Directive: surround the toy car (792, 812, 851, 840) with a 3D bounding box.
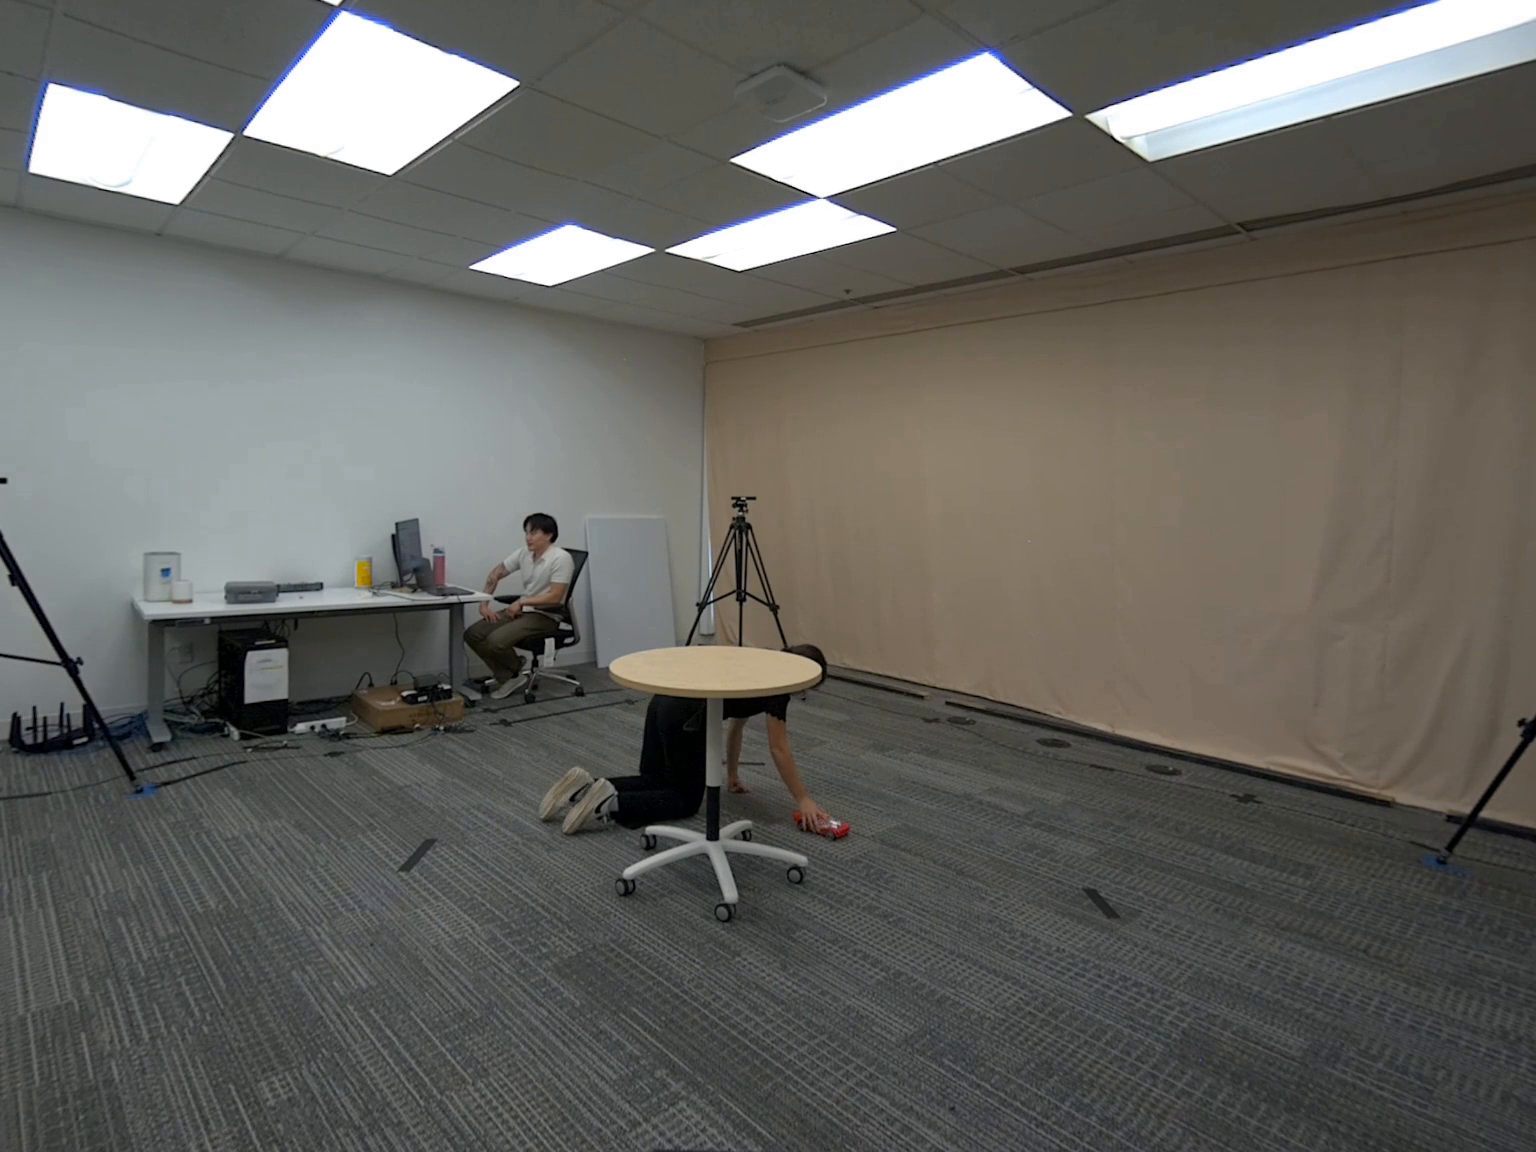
[{"bbox_3d":[0.207,1.046,3.560,0.262,0.083,0.127,18,13,40],"label":"toy car"}]
